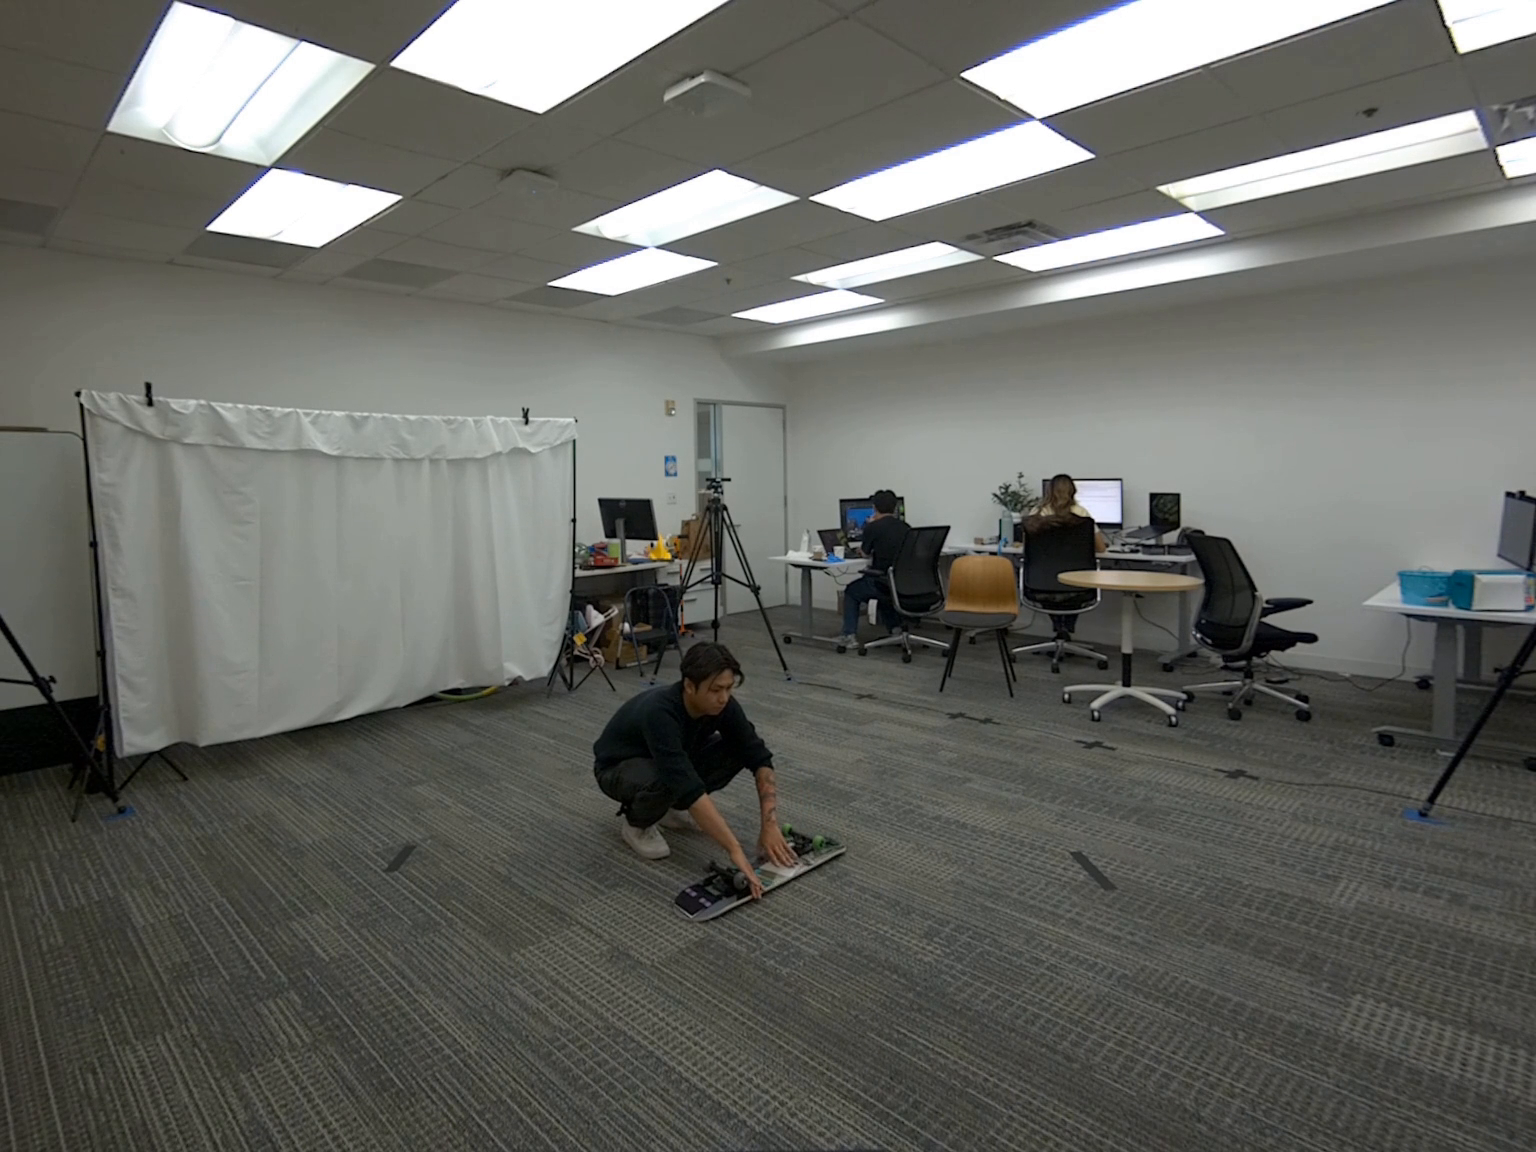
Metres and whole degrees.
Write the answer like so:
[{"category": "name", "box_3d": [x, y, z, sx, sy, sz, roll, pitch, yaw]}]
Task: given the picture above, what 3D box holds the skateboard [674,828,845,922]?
[{"category": "skateboard", "box_3d": [-0.003, 1.009, 2.990, 0.765, 0.110, 0.200, -7, 10, -44]}]
